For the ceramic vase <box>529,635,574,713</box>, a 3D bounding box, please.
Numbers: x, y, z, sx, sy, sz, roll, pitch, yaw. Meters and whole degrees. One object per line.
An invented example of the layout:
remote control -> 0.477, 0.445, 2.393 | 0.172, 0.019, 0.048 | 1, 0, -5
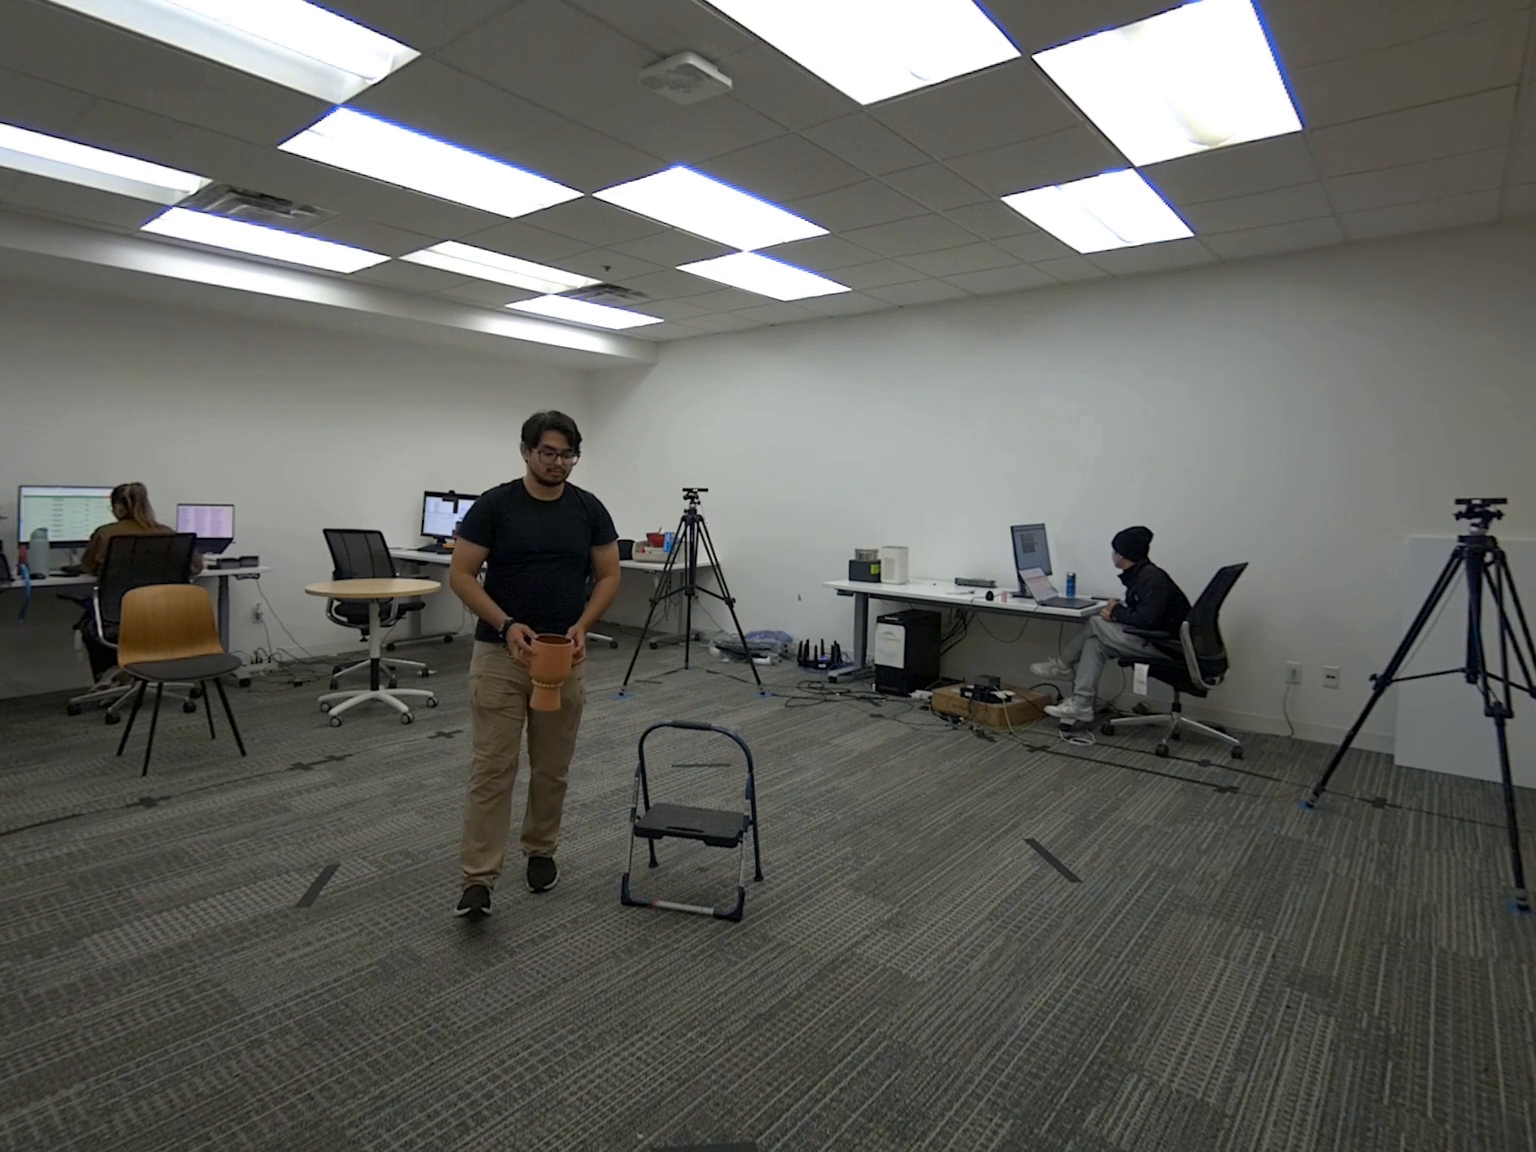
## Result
ceramic vase -> -0.709, 0.306, 2.695 | 0.160, 0.219, 0.134 | 7, 6, 8
